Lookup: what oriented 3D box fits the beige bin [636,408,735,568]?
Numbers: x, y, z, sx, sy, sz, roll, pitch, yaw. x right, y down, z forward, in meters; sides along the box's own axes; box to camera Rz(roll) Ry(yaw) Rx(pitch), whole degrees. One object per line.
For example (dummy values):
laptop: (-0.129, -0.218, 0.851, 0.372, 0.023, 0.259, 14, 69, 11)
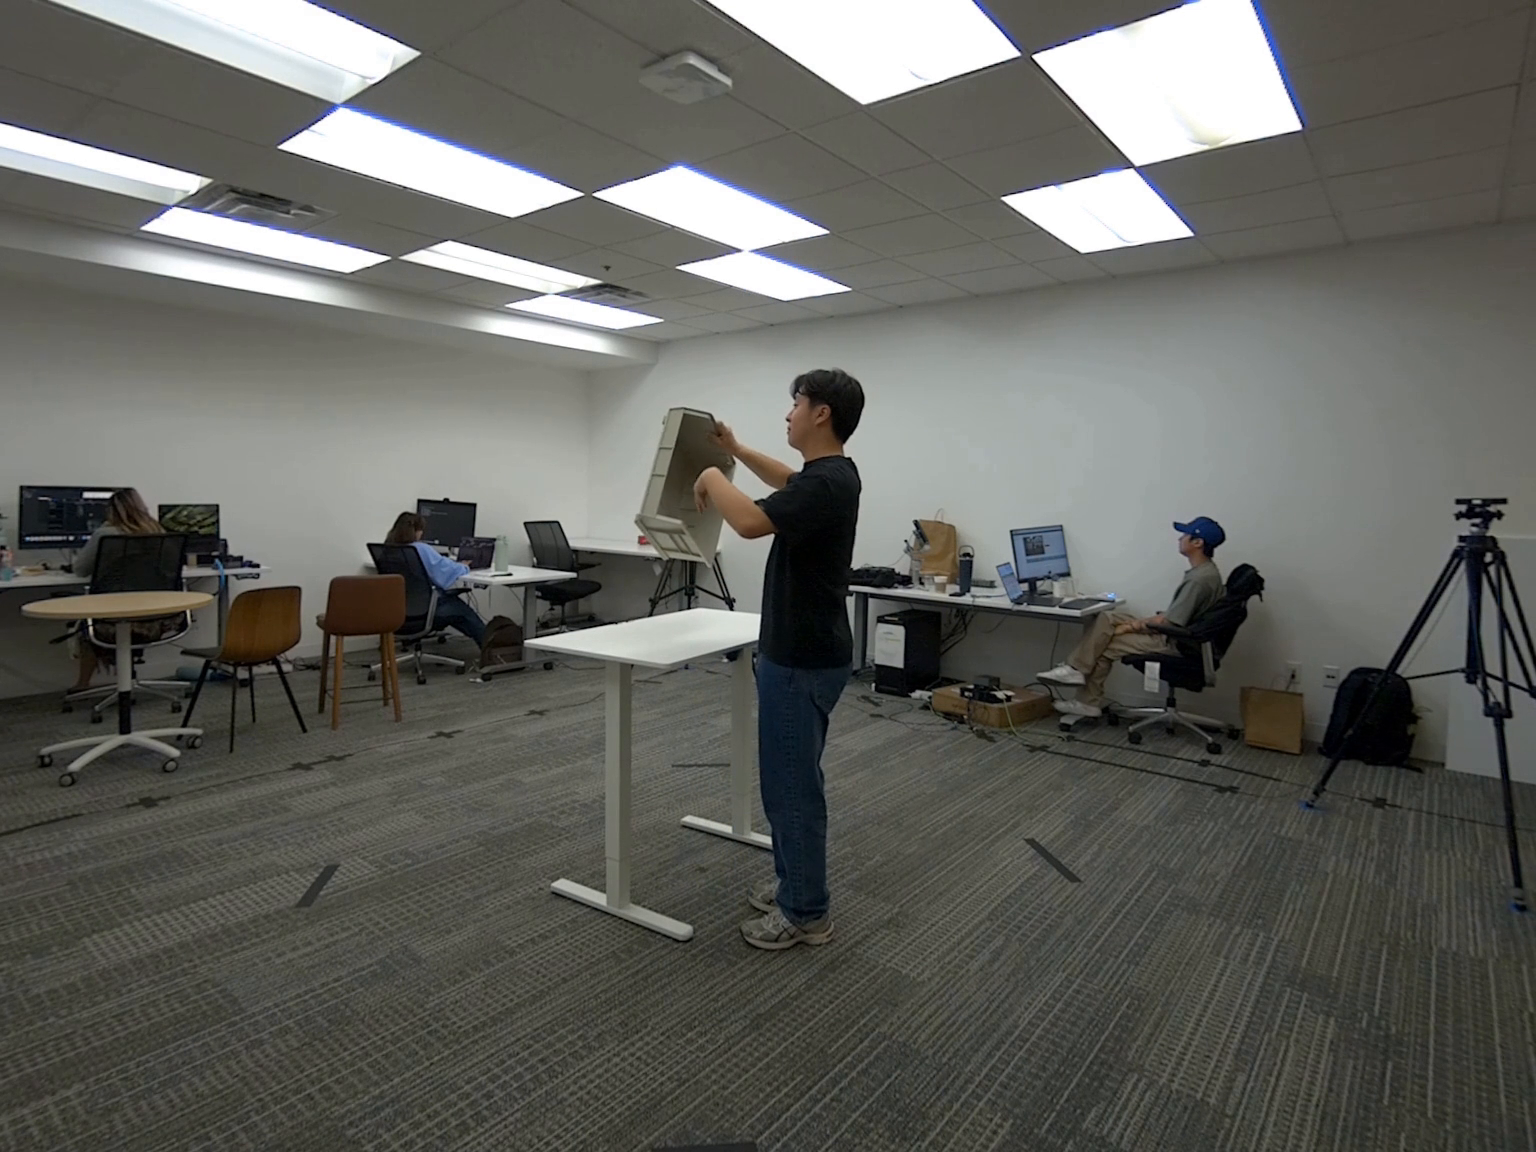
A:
beige bin: (-0.286, -0.302, 2.925, 0.192, 0.429, 0.365, 5, -22, 14)
